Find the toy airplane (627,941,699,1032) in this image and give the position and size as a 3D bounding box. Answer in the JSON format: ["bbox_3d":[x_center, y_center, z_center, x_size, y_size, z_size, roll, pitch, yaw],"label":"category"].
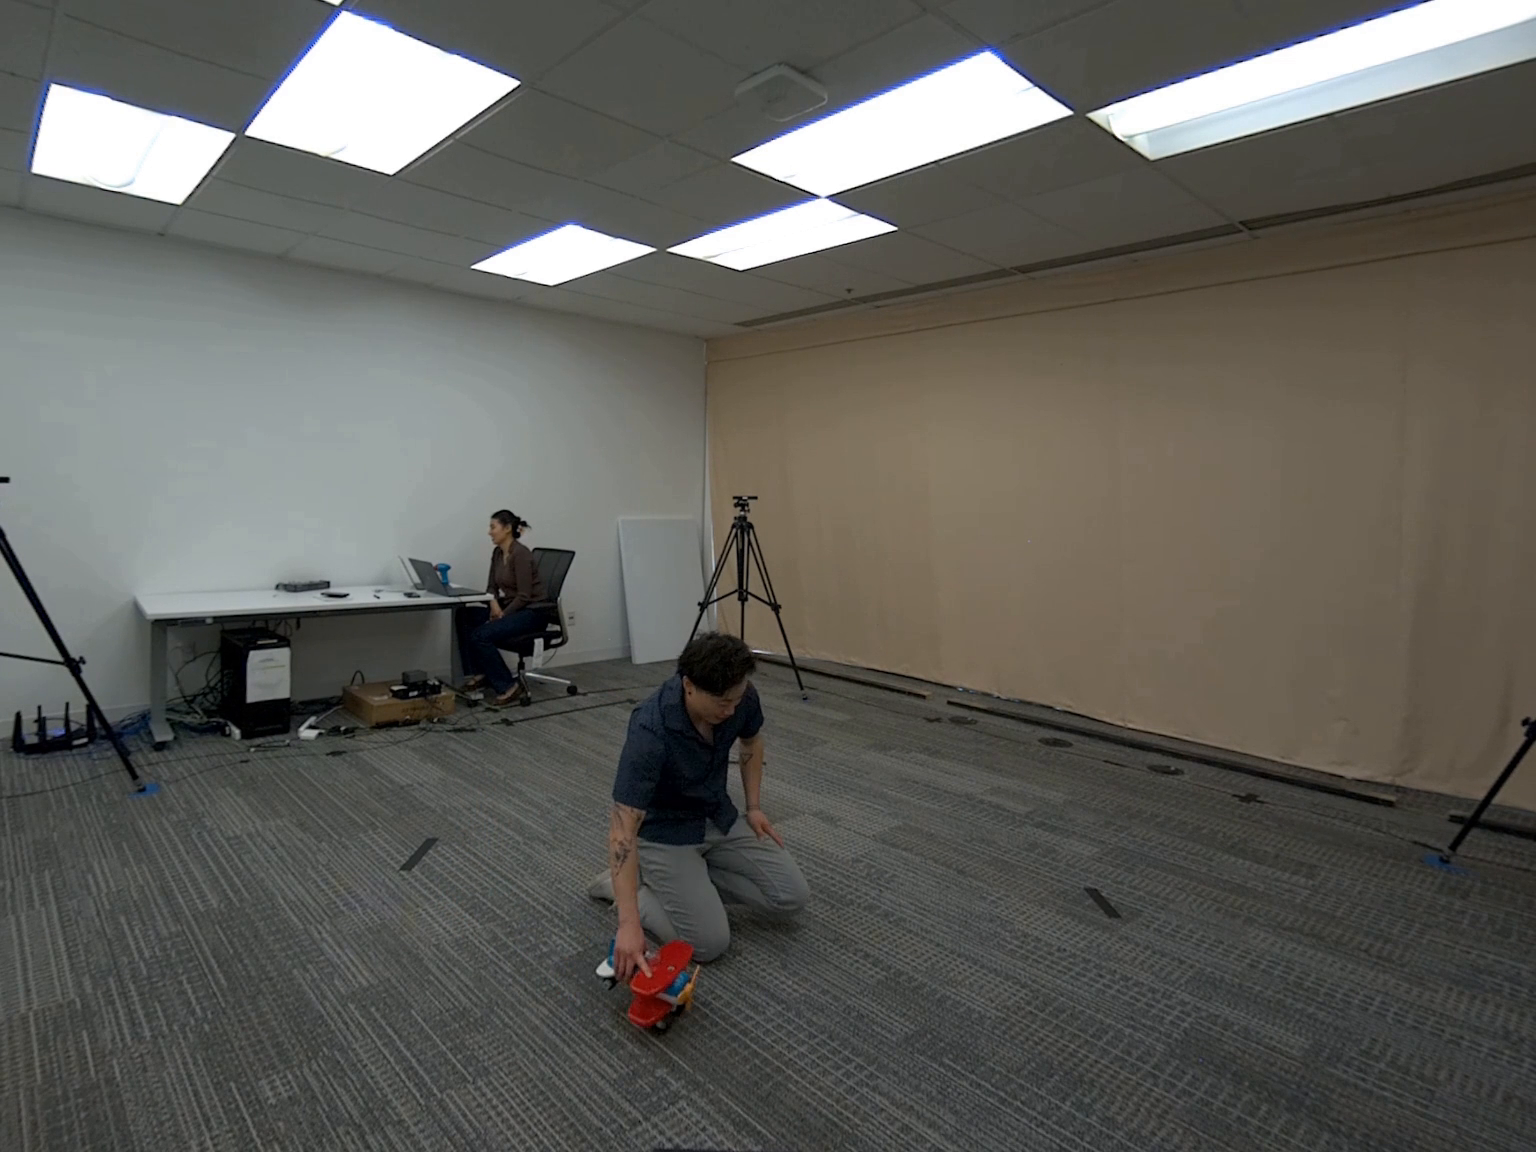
[{"bbox_3d":[-0.340,1.090,2.220,0.257,0.155,0.254,18,12,-9],"label":"toy airplane"}]
